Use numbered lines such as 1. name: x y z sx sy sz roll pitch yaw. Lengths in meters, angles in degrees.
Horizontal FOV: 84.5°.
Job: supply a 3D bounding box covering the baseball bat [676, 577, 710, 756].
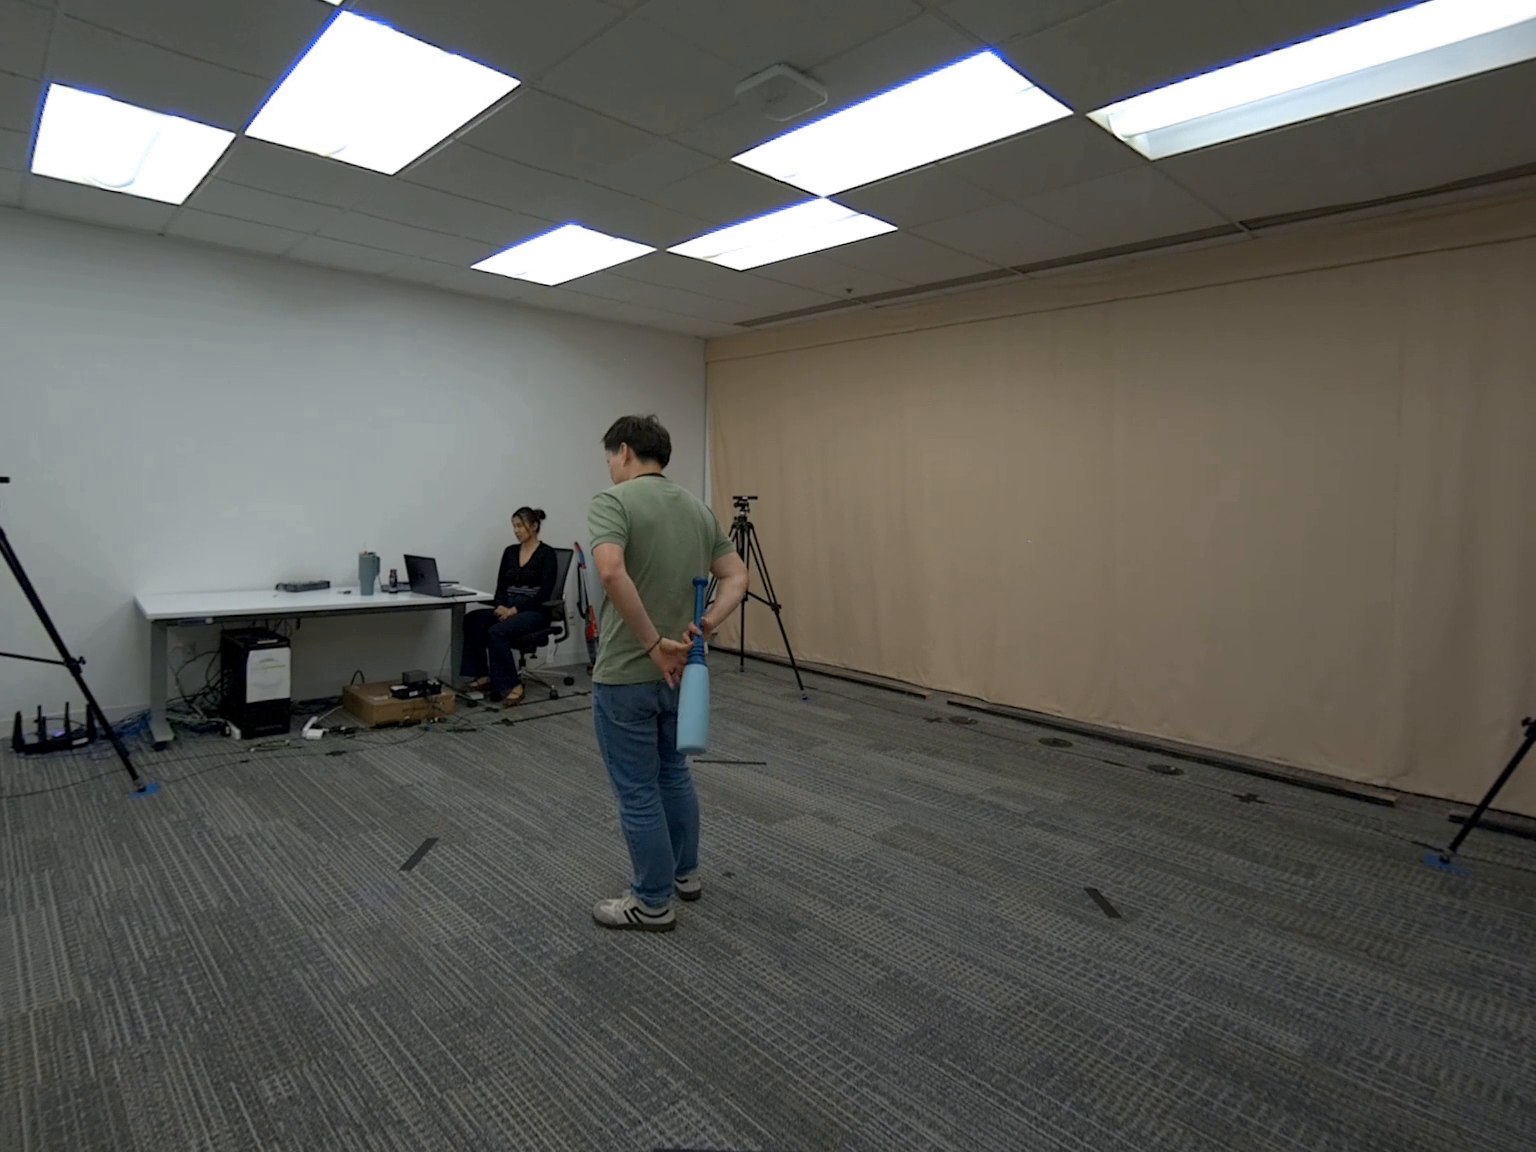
1. baseball bat: -0.216 0.256 2.467 0.089 0.553 0.087 2 -31 0
